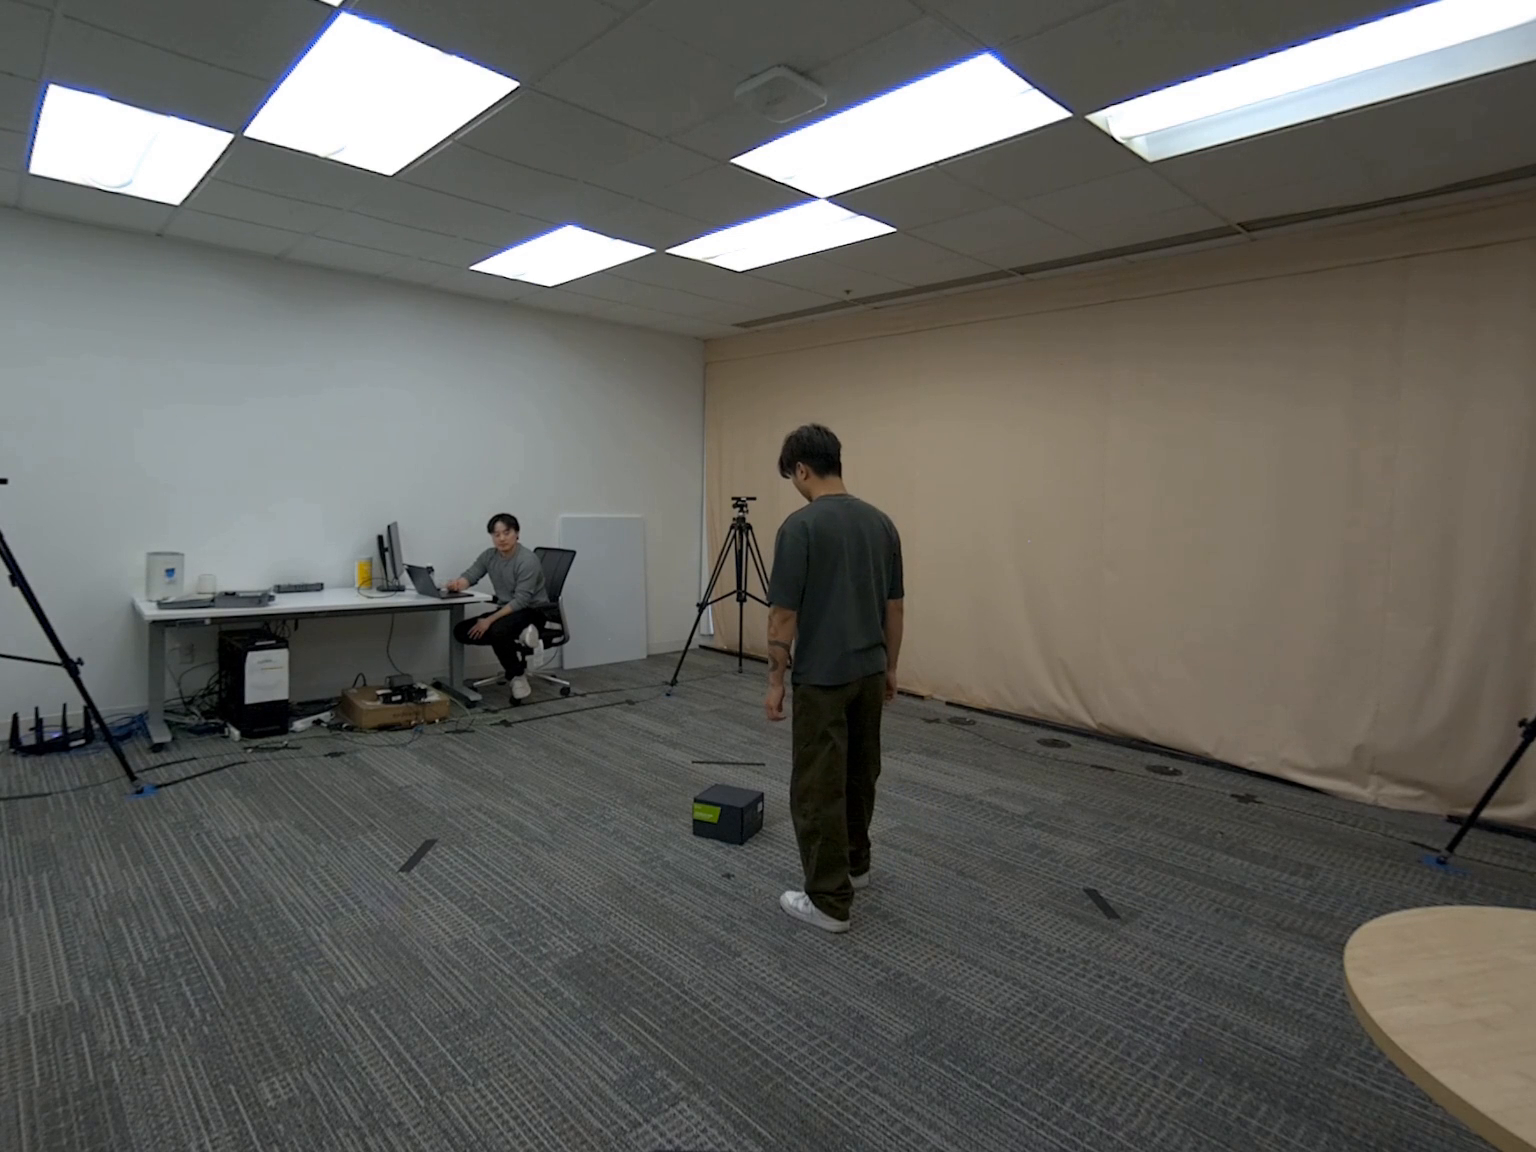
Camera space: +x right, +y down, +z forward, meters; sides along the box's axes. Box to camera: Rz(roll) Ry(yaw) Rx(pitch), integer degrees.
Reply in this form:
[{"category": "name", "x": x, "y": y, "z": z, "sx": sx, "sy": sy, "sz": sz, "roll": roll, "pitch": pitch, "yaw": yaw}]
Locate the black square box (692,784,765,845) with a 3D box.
[{"category": "black square box", "x": -0.174, "y": 0.984, "z": 3.518, "sx": 0.232, "sy": 0.155, "sz": 0.213, "roll": 3, "pitch": 5, "yaw": 25}]
